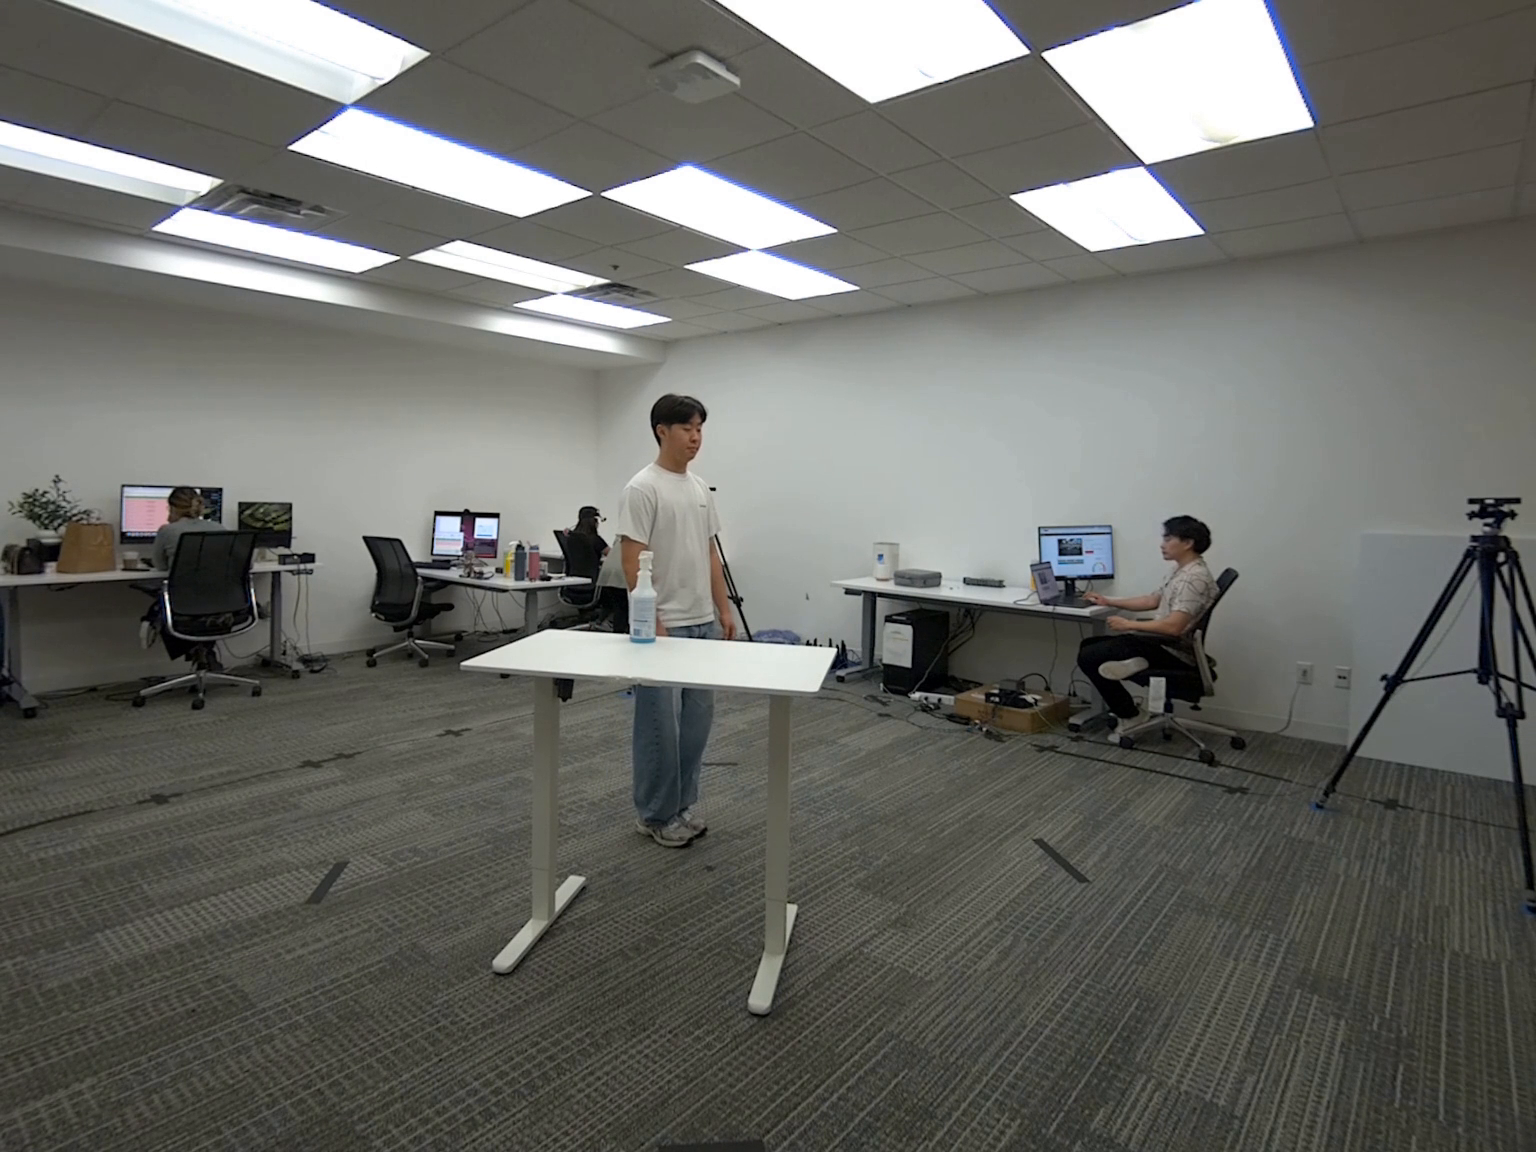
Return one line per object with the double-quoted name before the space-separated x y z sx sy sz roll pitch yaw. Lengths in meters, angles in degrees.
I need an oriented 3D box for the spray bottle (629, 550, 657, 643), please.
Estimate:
"spray bottle" -0.422 0.065 2.775 0.087 0.296 0.091 1 6 -4
